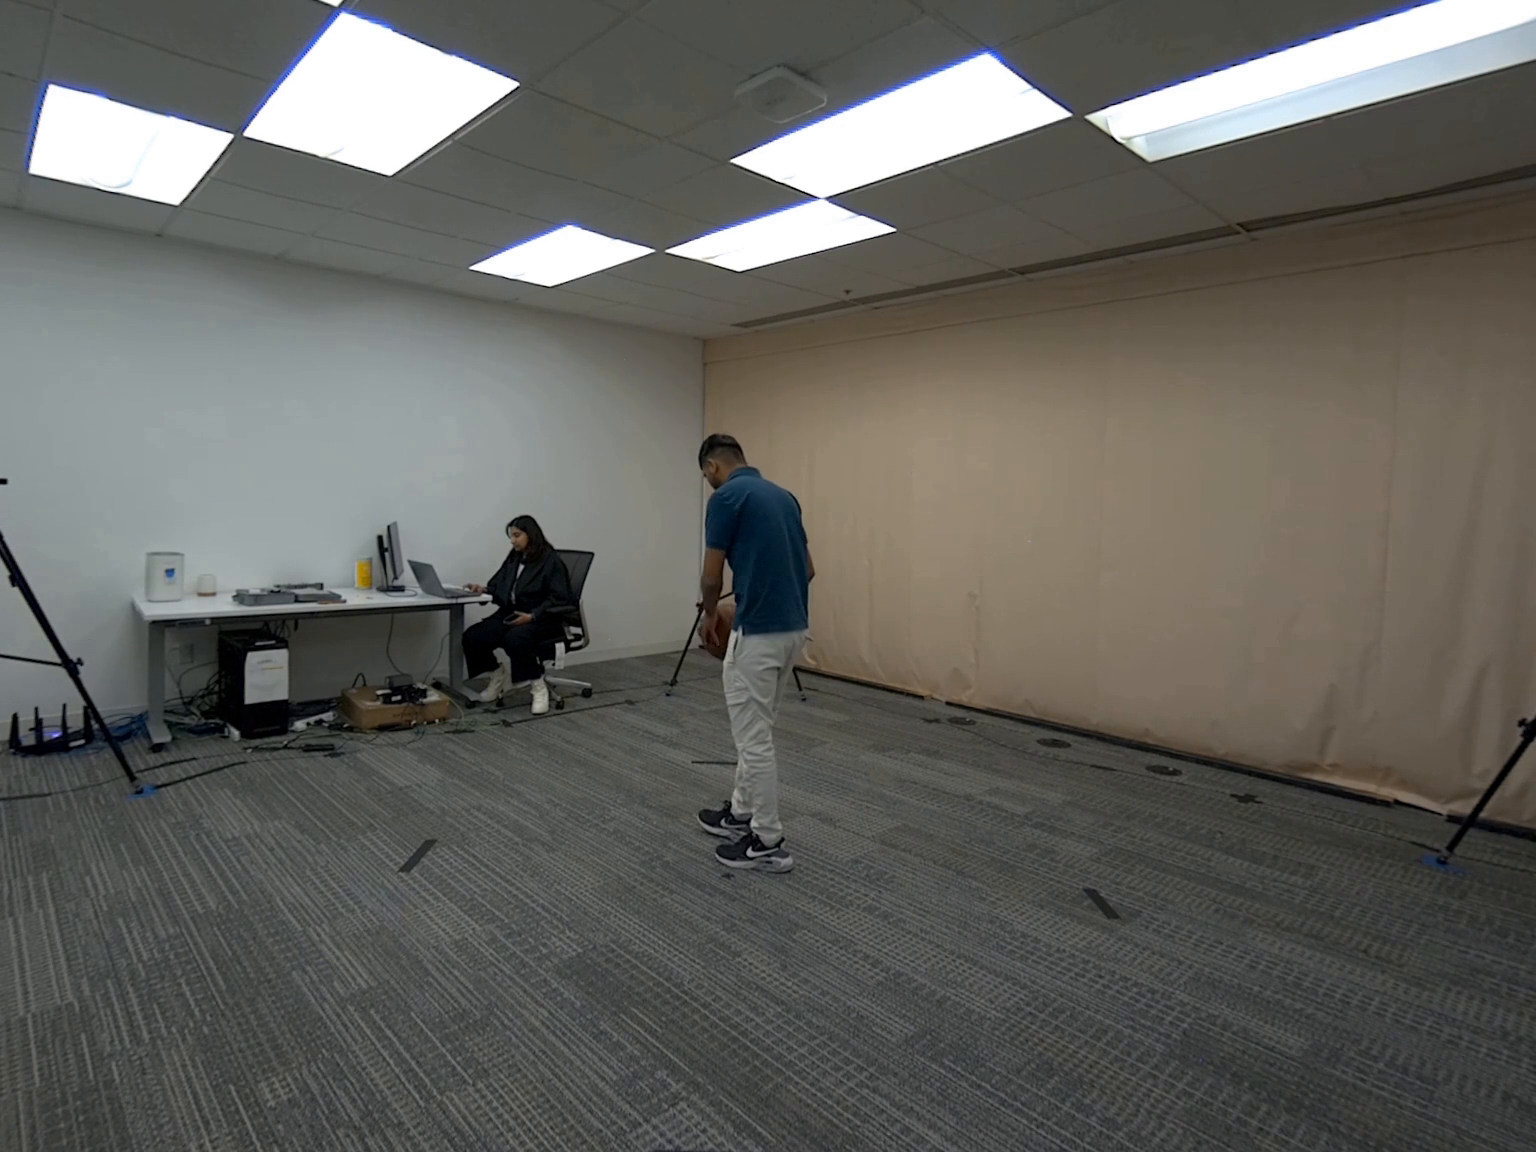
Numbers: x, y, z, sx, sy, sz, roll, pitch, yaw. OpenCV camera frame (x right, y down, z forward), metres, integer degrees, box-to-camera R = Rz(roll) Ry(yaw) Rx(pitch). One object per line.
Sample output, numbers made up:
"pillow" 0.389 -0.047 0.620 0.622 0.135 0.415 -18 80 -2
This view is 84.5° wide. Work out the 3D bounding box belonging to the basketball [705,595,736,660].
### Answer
"basketball" -0.169 0.244 3.535 0.236 0.235 0.237 1 4 -1
